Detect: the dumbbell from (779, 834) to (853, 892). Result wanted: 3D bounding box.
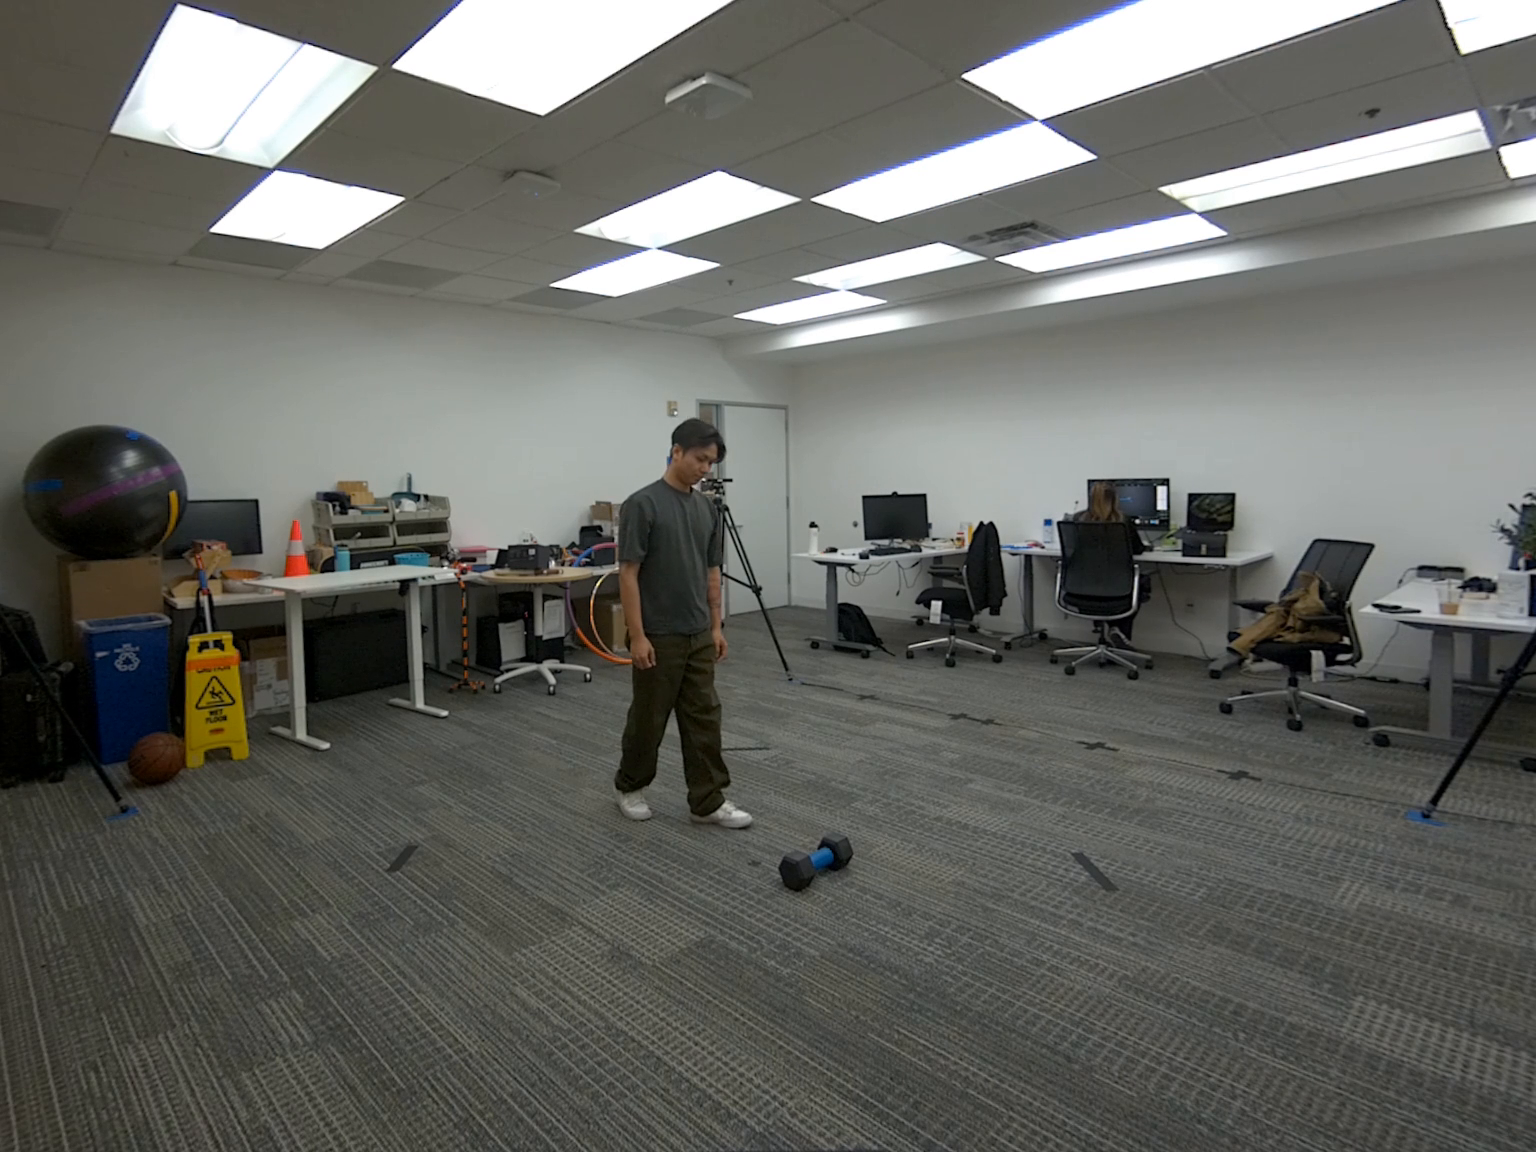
[{"bbox_3d":[0.175,0.998,2.998,0.286,0.121,0.113,-7,38,-46],"label":"dumbbell"}]
